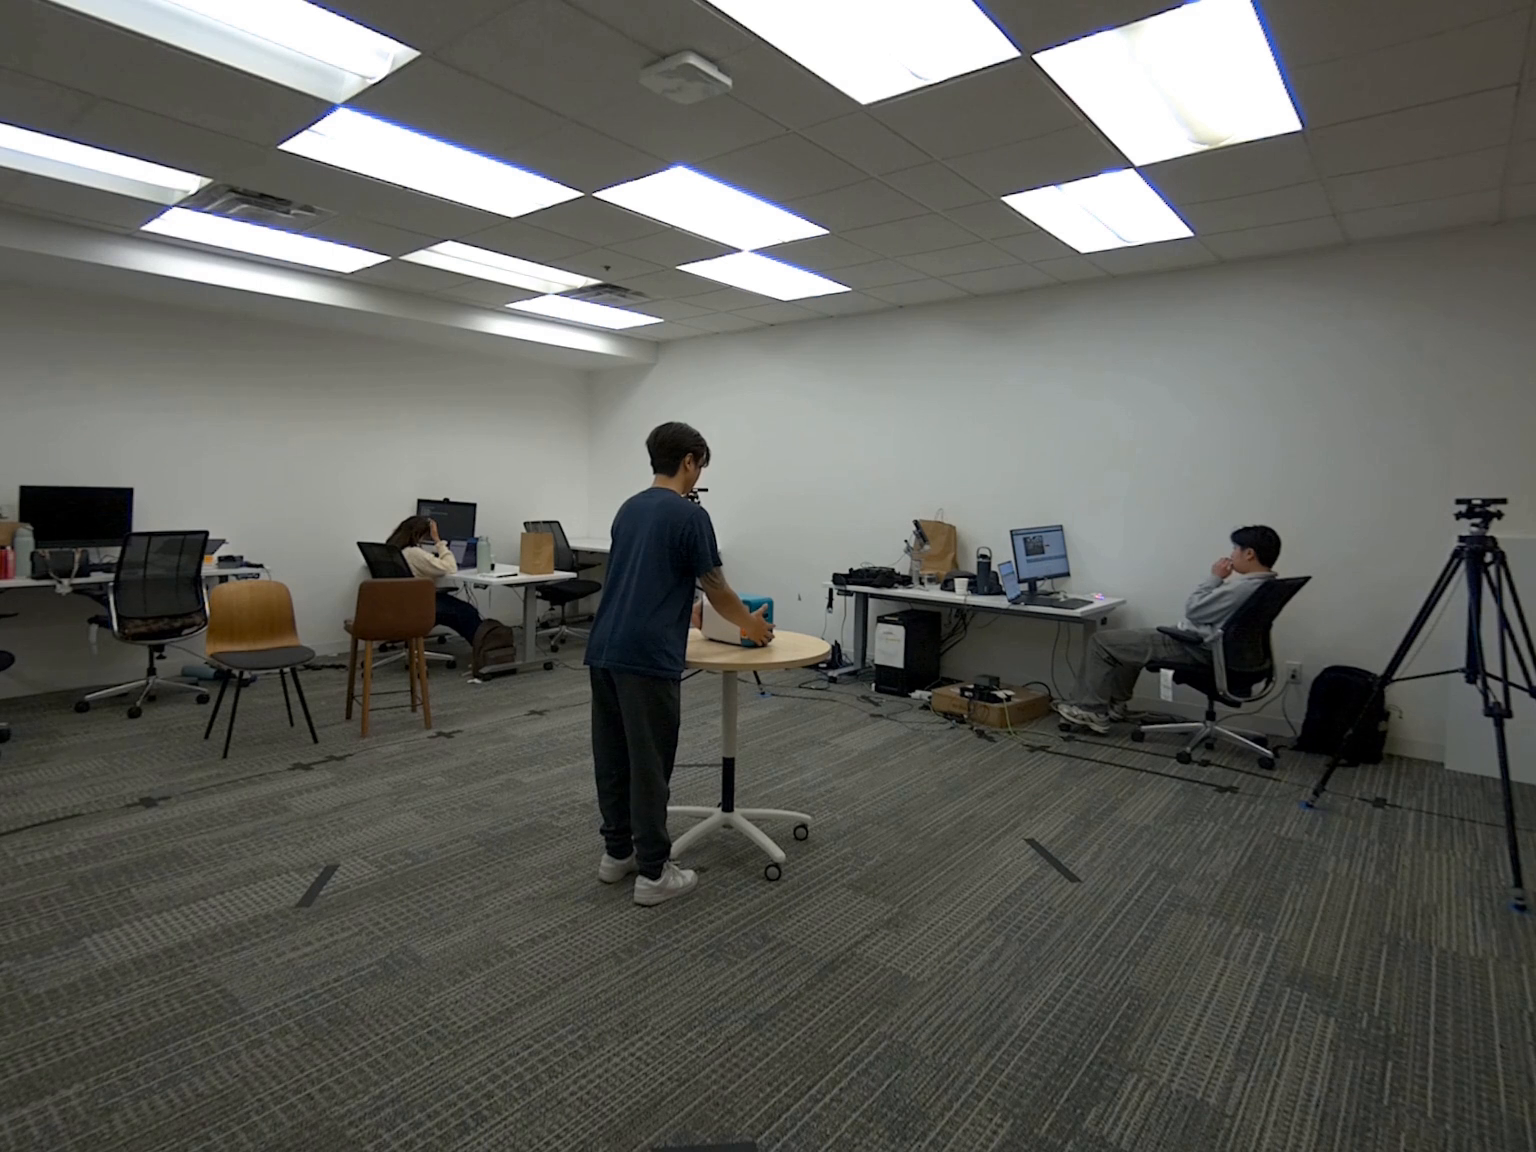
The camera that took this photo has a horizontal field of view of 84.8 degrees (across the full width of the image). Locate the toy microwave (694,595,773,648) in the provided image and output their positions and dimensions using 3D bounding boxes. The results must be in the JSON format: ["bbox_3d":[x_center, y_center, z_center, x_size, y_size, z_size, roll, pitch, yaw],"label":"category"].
[{"bbox_3d":[-0.139,0.167,3.310,0.296,0.183,0.148,6,6,44],"label":"toy microwave"}]
